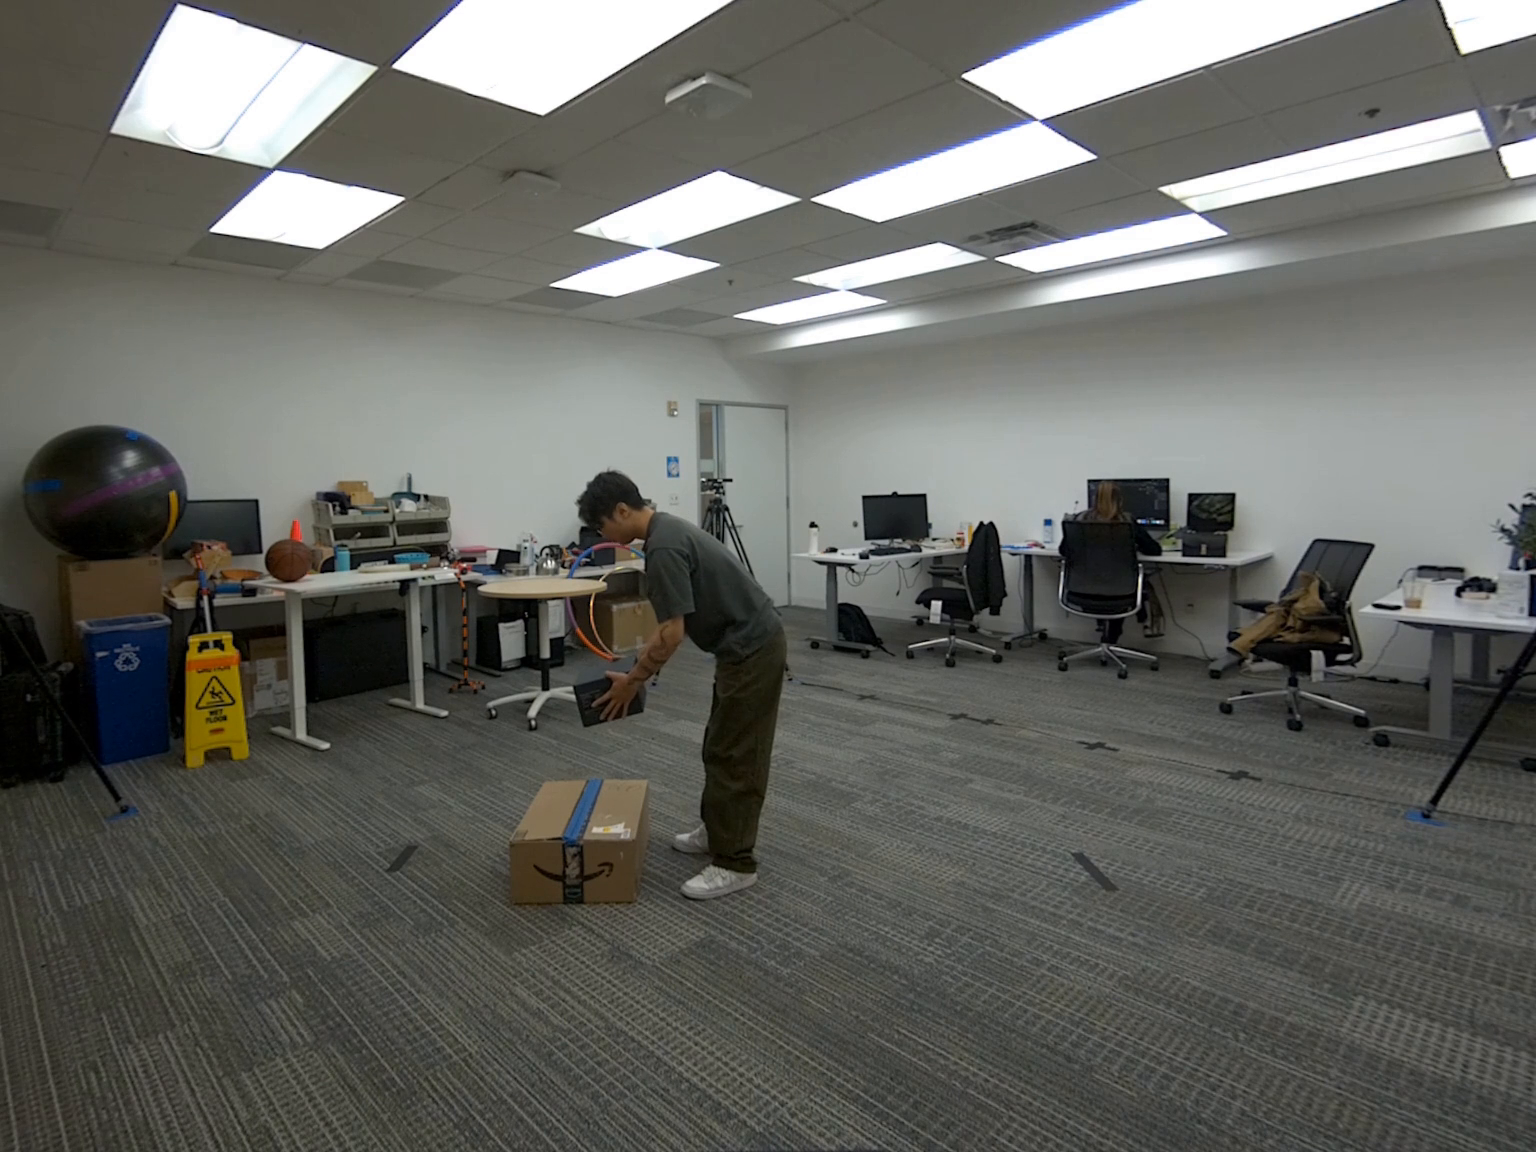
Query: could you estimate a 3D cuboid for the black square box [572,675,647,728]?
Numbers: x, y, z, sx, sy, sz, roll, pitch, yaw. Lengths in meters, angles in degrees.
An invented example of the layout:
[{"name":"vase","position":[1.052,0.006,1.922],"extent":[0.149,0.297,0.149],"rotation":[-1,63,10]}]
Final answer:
[{"name":"black square box","position":[-0.568,0.402,3.063],"extent":[0.217,0.154,0.231],"rotation":[-16,11,-2]}]
